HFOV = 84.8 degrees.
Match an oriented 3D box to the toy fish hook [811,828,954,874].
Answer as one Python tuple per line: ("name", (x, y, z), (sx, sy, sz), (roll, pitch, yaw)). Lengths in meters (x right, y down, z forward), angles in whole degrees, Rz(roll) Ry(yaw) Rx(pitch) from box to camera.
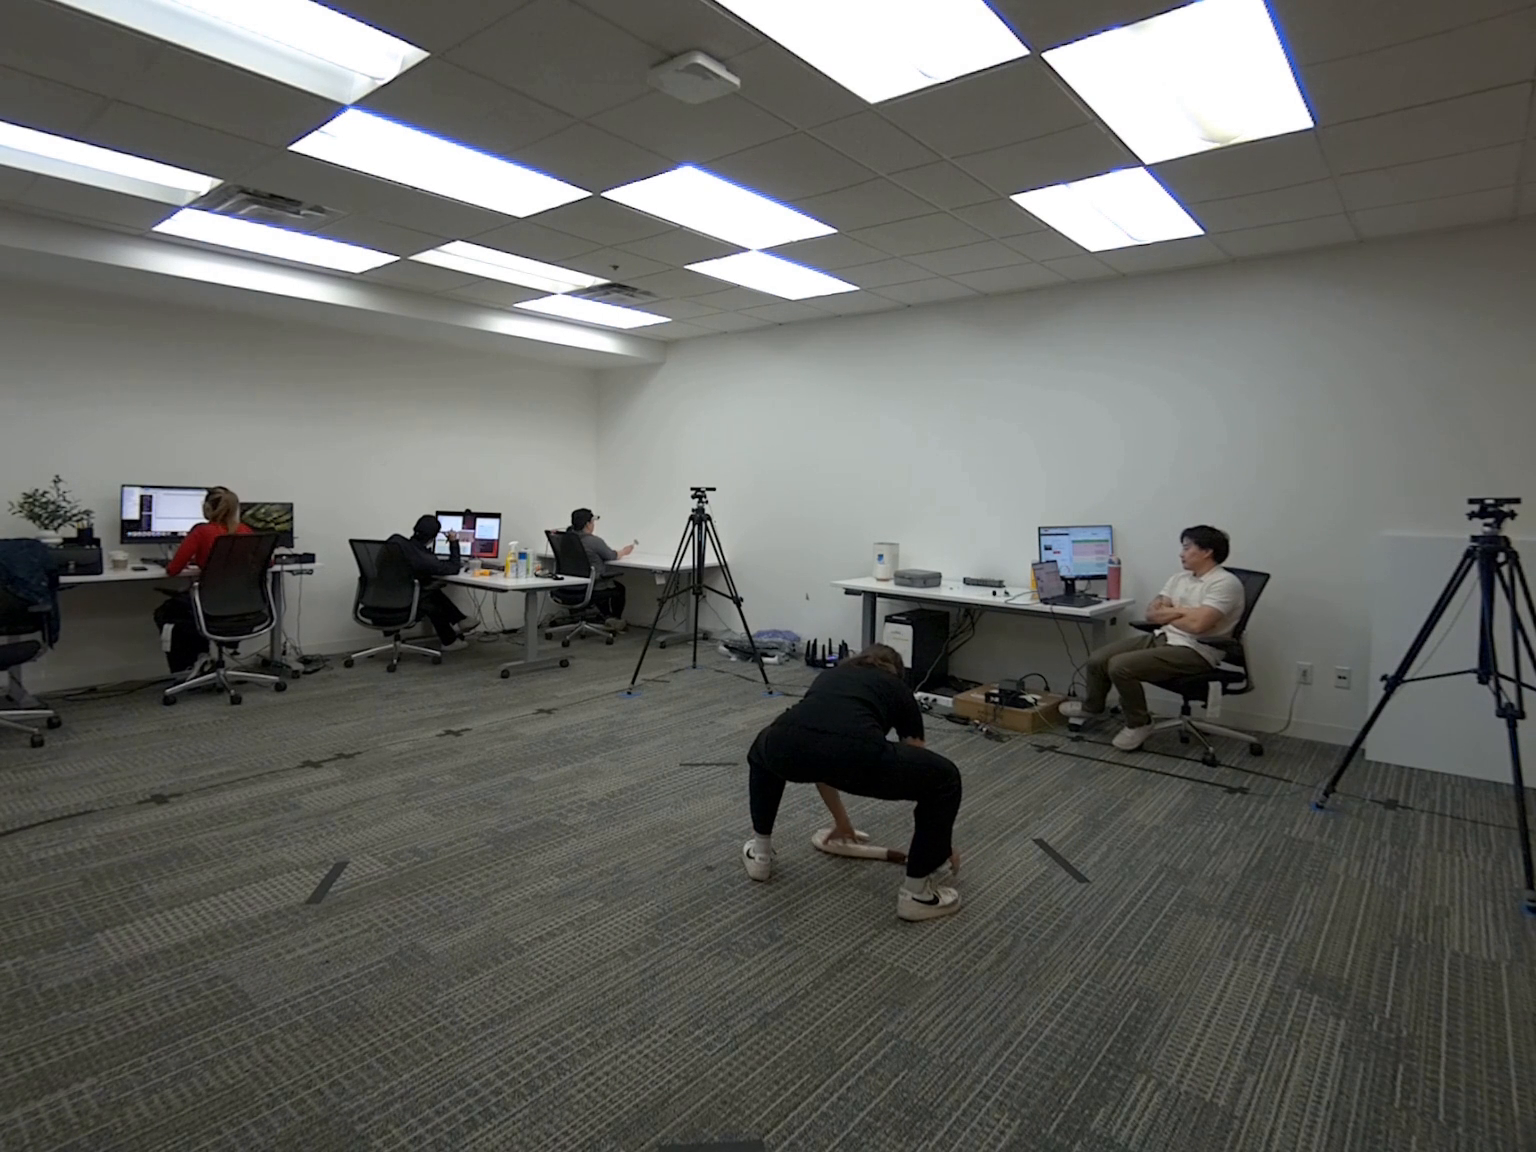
("toy fish hook", (0.413, 1.038, 3.276), (0.520, 0.048, 0.221), (4, 11, 25))
